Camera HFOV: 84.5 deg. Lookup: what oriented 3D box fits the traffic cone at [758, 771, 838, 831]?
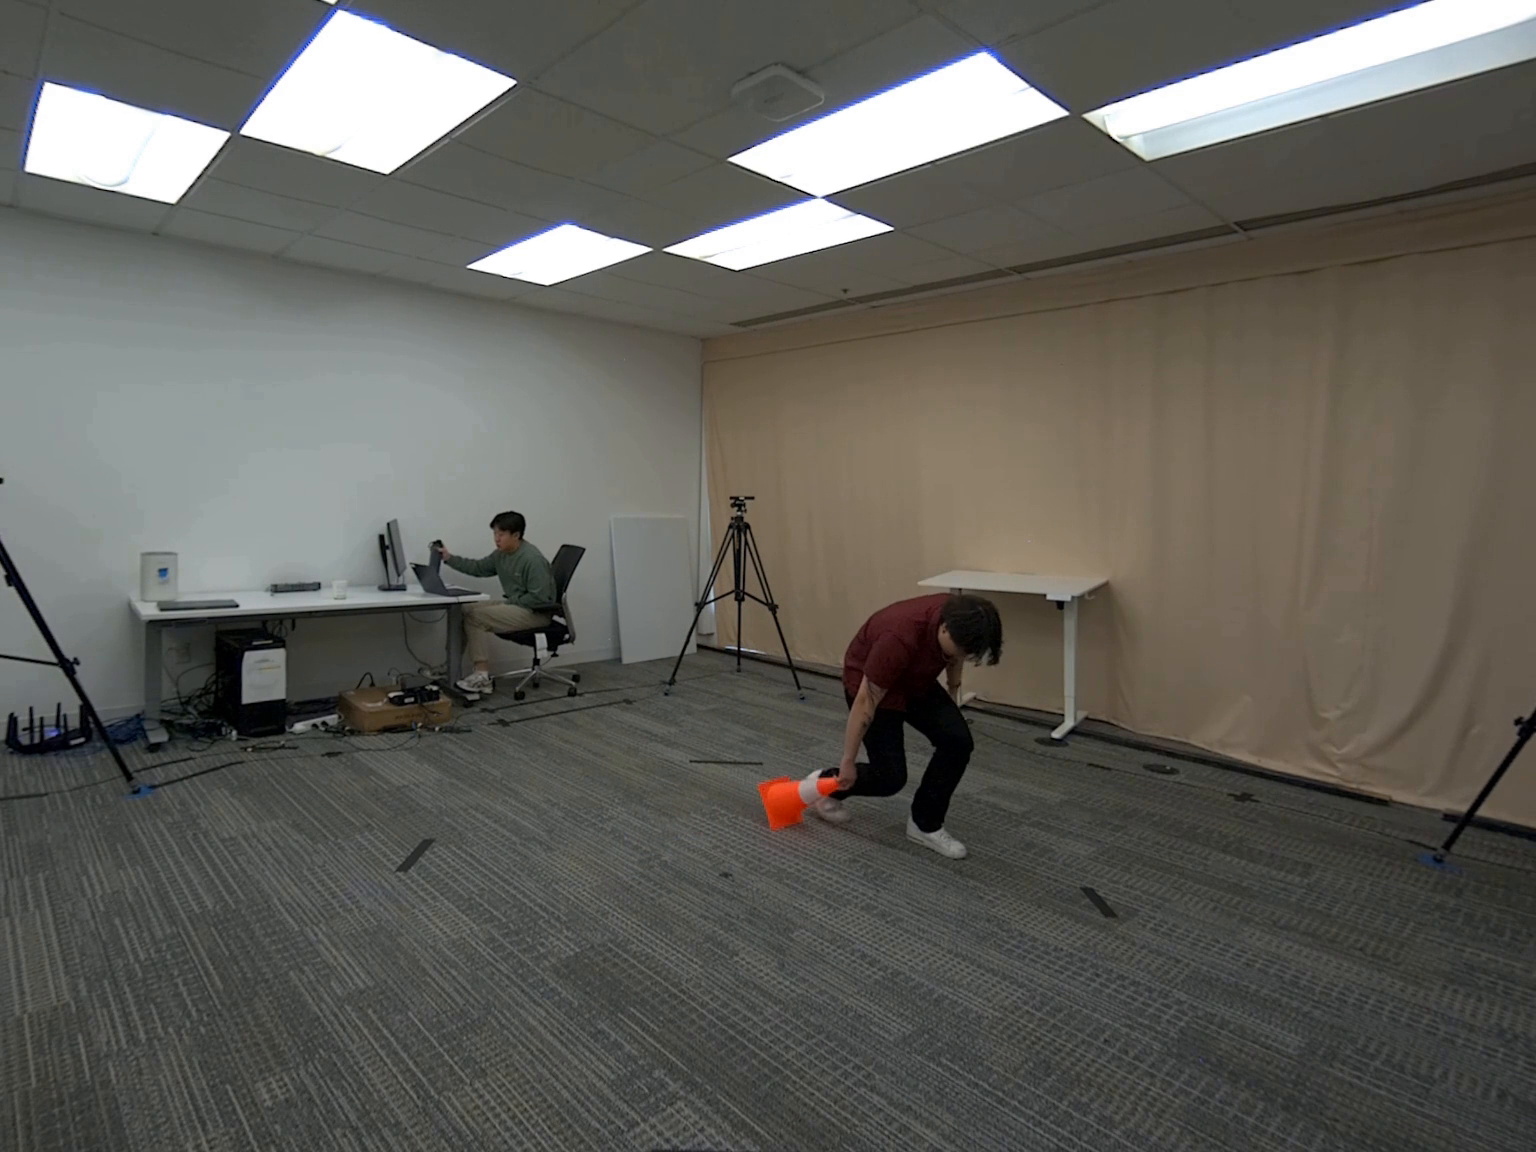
[{"bbox_3d":[0.177,0.896,3.521,0.387,0.207,0.200,-30,-22,37],"label":"traffic cone"}]
